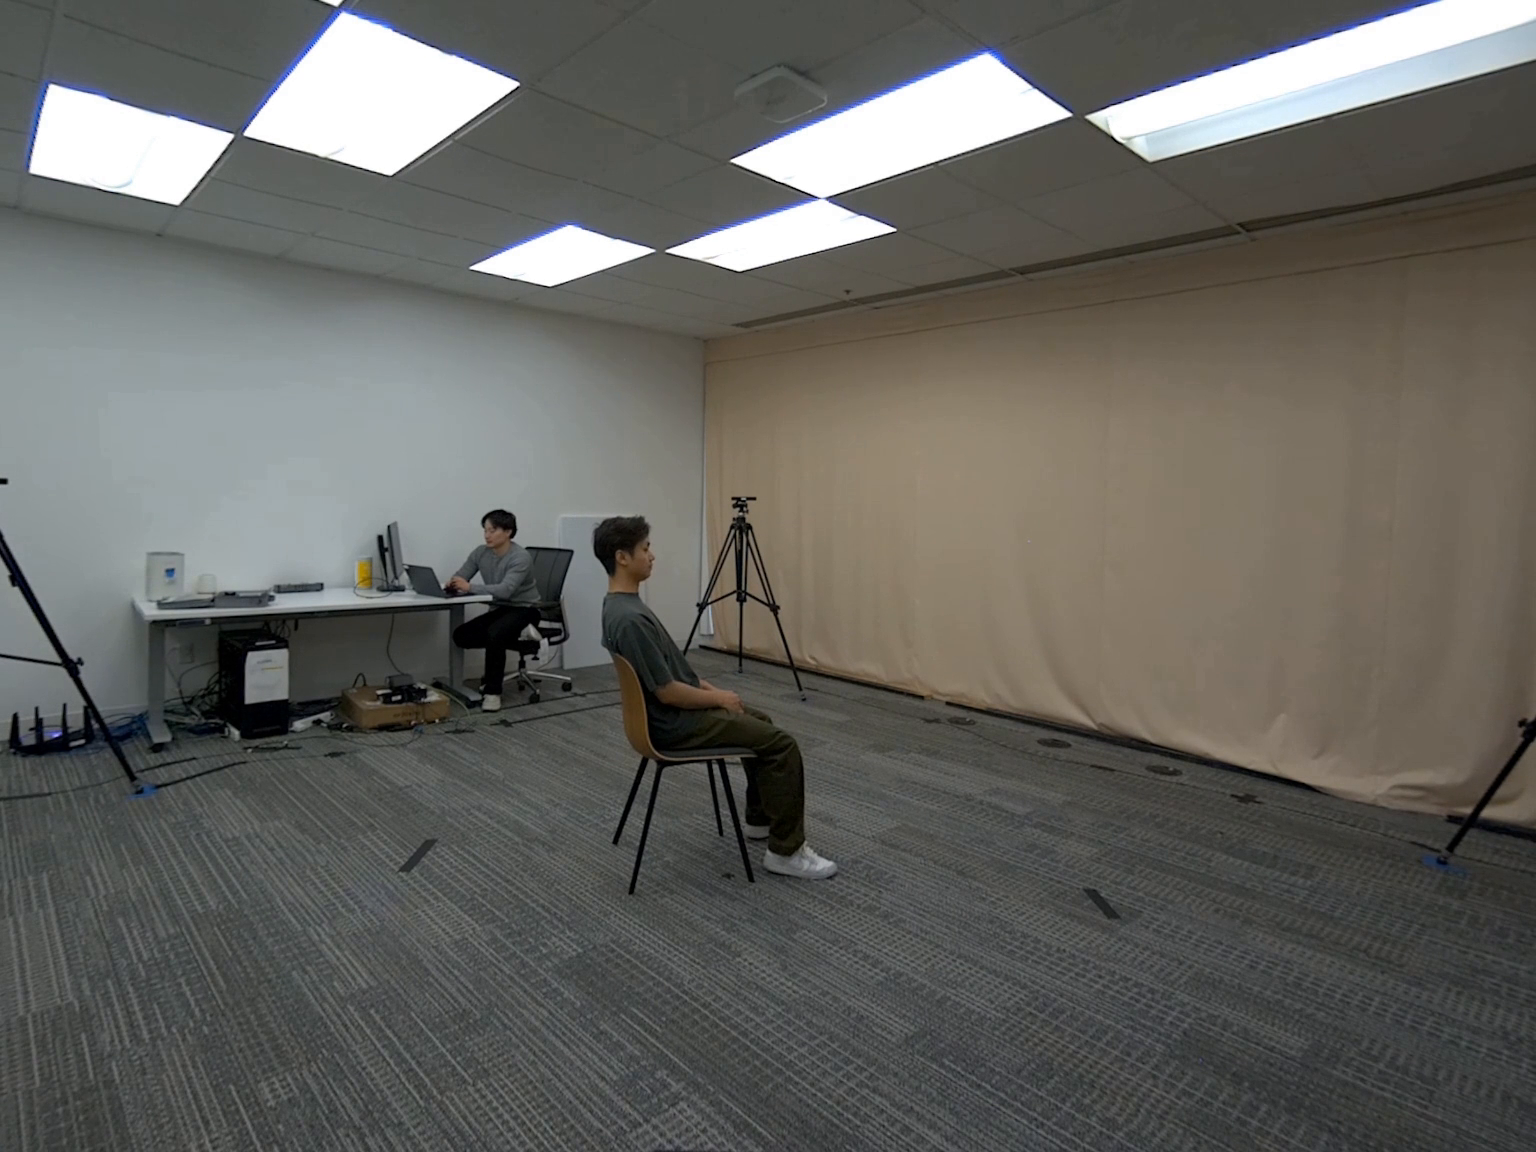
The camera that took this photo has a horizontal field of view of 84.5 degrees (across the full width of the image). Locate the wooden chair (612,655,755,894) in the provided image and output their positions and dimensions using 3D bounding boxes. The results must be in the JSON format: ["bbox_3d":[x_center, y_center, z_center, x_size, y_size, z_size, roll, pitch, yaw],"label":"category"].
[{"bbox_3d":[-0.328,0.663,3.182,0.517,0.875,0.485,-4,4,-16],"label":"wooden chair"}]
